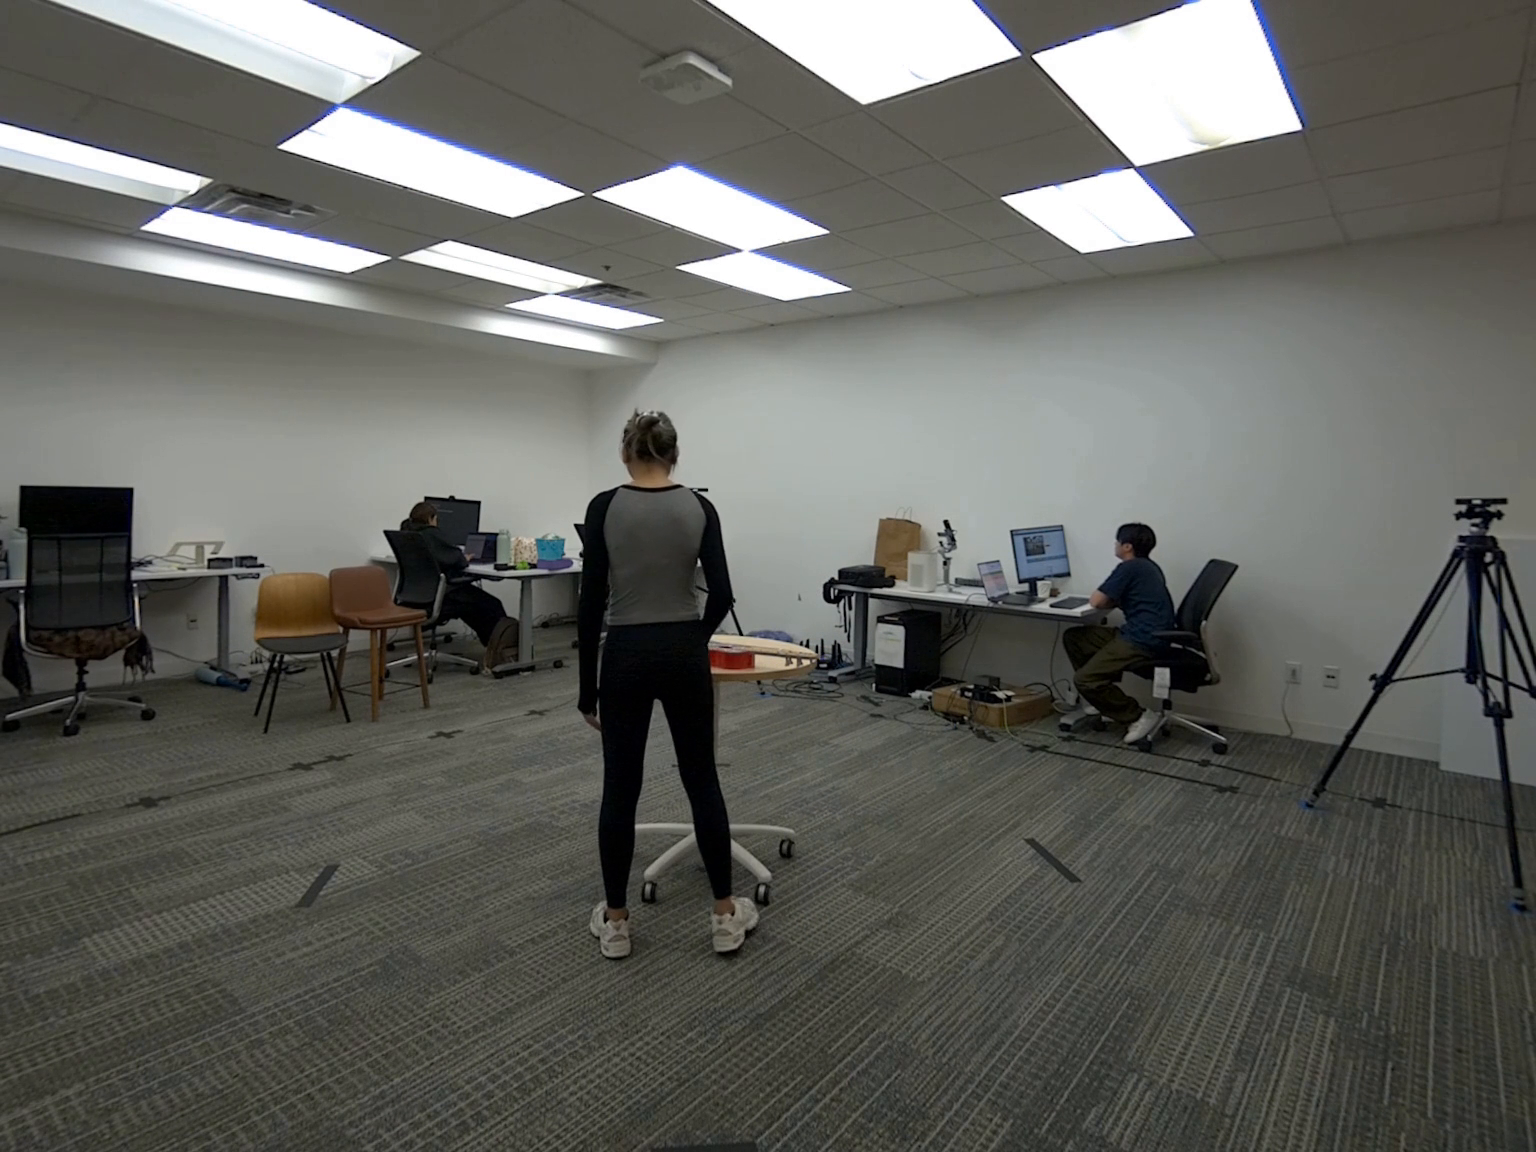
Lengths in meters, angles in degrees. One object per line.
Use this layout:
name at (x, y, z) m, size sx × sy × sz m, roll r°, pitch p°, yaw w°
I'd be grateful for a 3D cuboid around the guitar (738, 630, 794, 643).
guitar at (-0.090, 0.271, 2.828) m, size 0.513 × 0.070 × 0.188 m, roll 4°, pitch 4°, yaw 31°
